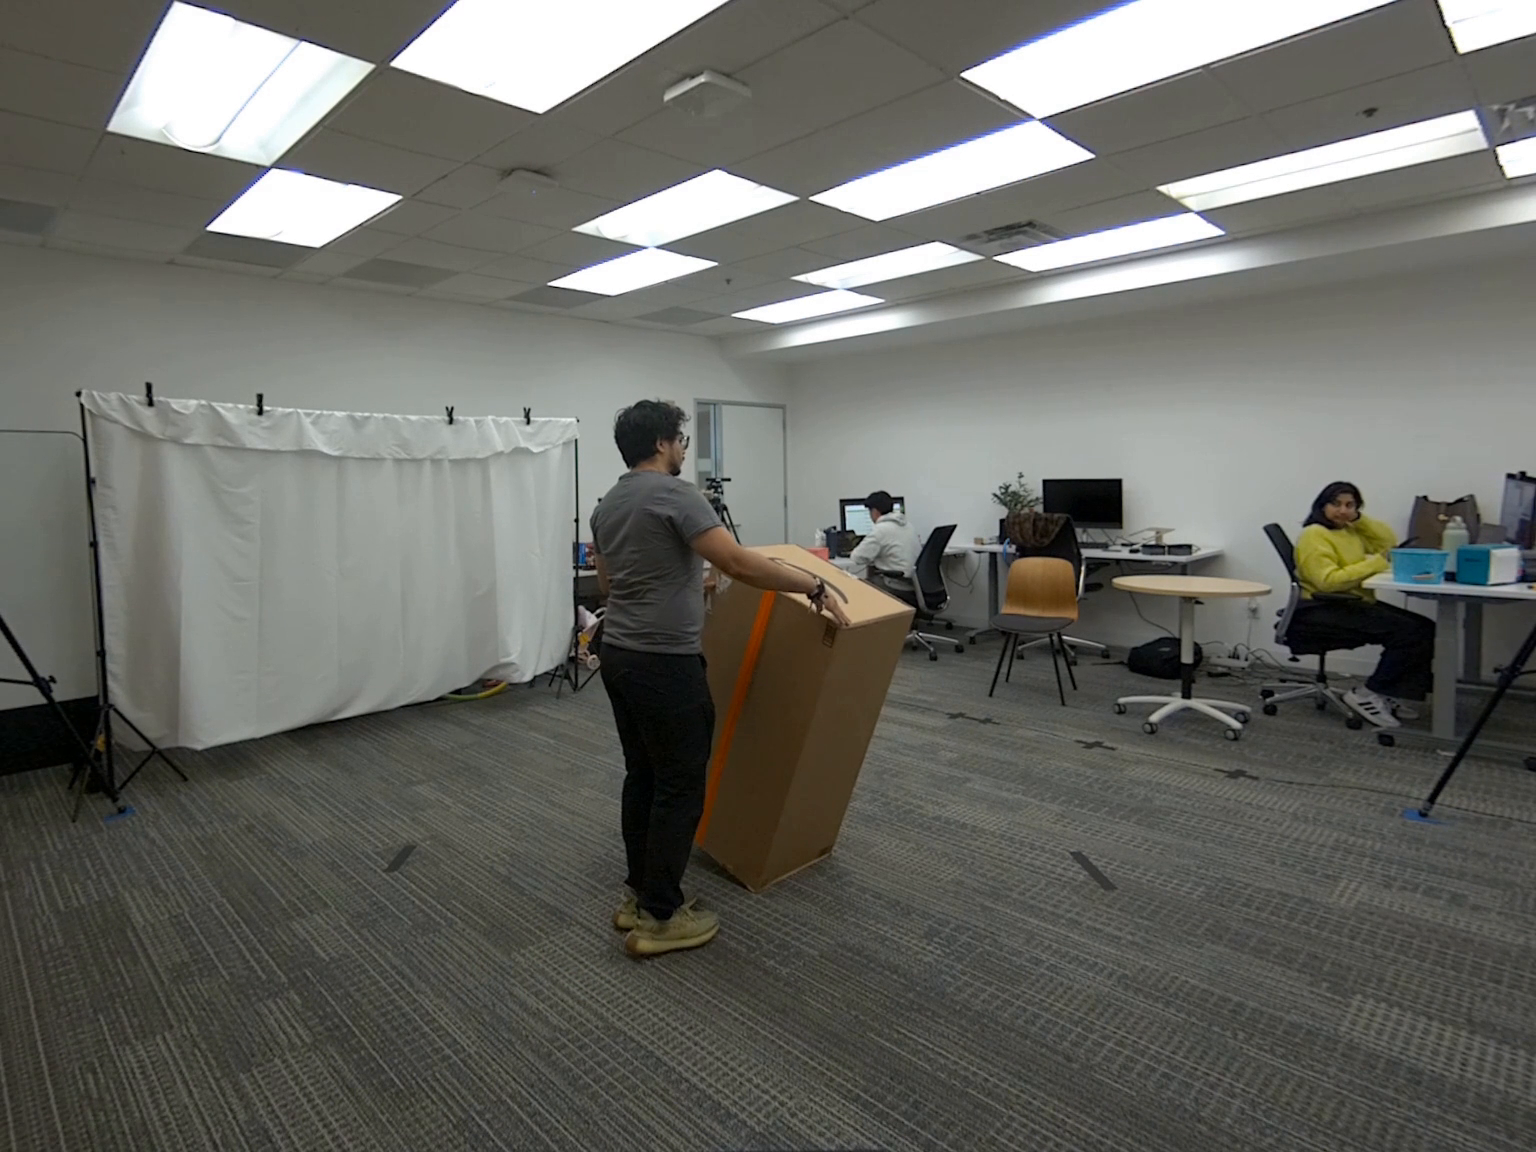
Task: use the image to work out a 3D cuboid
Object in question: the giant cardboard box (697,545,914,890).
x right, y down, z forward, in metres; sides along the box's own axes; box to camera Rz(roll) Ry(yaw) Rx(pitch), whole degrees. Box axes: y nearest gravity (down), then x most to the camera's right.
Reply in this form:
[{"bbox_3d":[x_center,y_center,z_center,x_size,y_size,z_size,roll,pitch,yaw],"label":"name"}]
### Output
[{"bbox_3d":[0.029,0.476,3.048,0.415,1.014,0.600,-5,27,-46],"label":"giant cardboard box"}]
